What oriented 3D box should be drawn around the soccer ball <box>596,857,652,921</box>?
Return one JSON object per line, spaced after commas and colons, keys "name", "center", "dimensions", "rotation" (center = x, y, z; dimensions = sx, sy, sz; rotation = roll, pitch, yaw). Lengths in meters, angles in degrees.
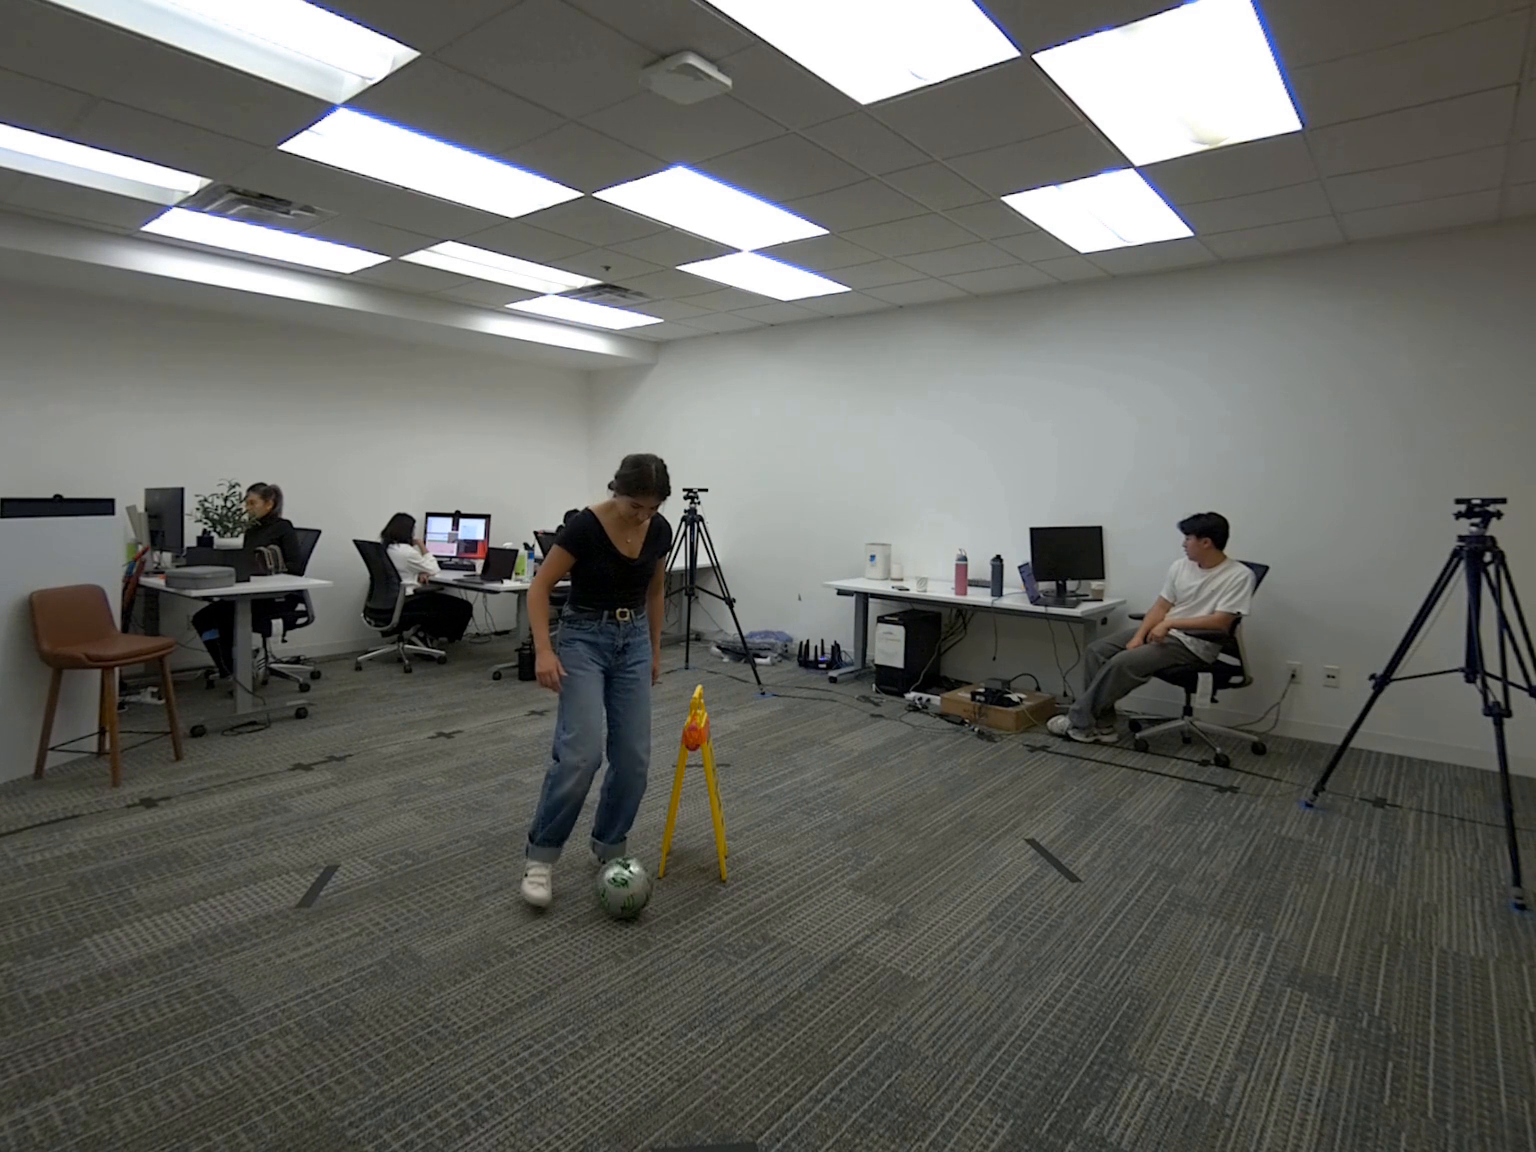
{"name": "soccer ball", "center": [-0.466, 0.999, 2.759], "dimensions": [0.187, 0.187, 0.188], "rotation": [1, 4, -2]}
